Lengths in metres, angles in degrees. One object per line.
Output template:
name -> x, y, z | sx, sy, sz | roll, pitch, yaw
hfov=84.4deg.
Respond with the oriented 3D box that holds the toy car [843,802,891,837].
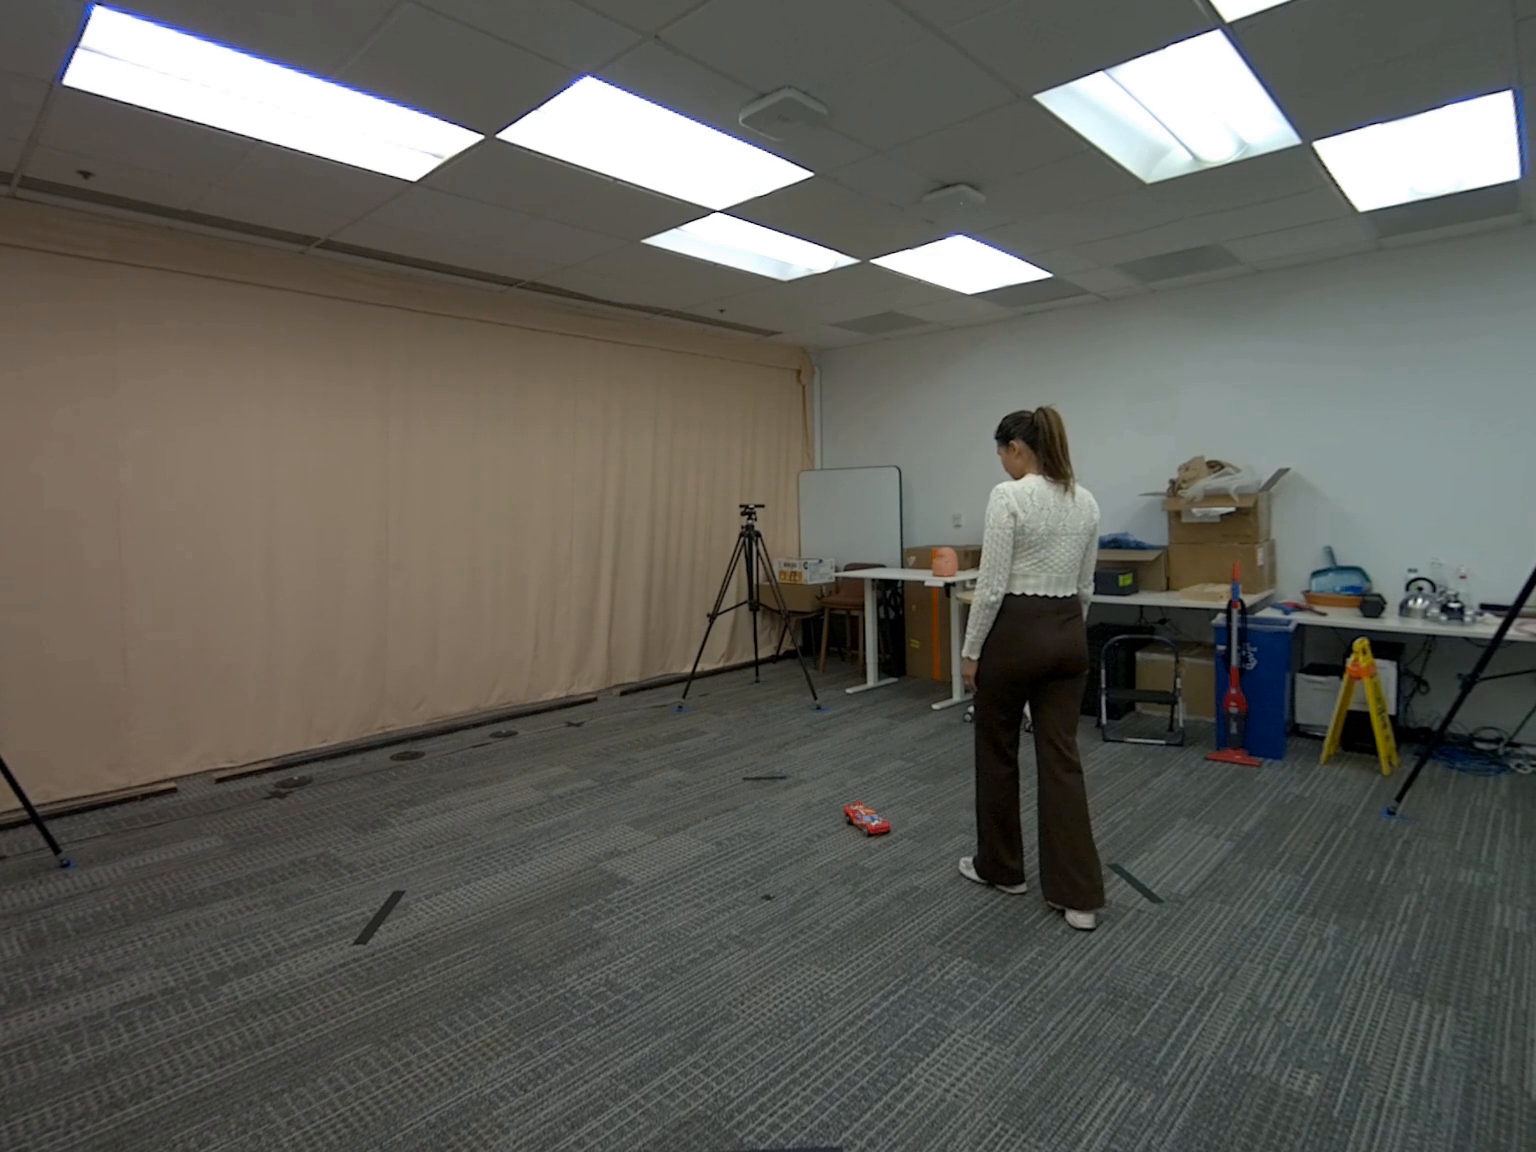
toy car -> 0.421, 1.045, 3.624 | 0.127, 0.082, 0.262 | -2, 16, -23
